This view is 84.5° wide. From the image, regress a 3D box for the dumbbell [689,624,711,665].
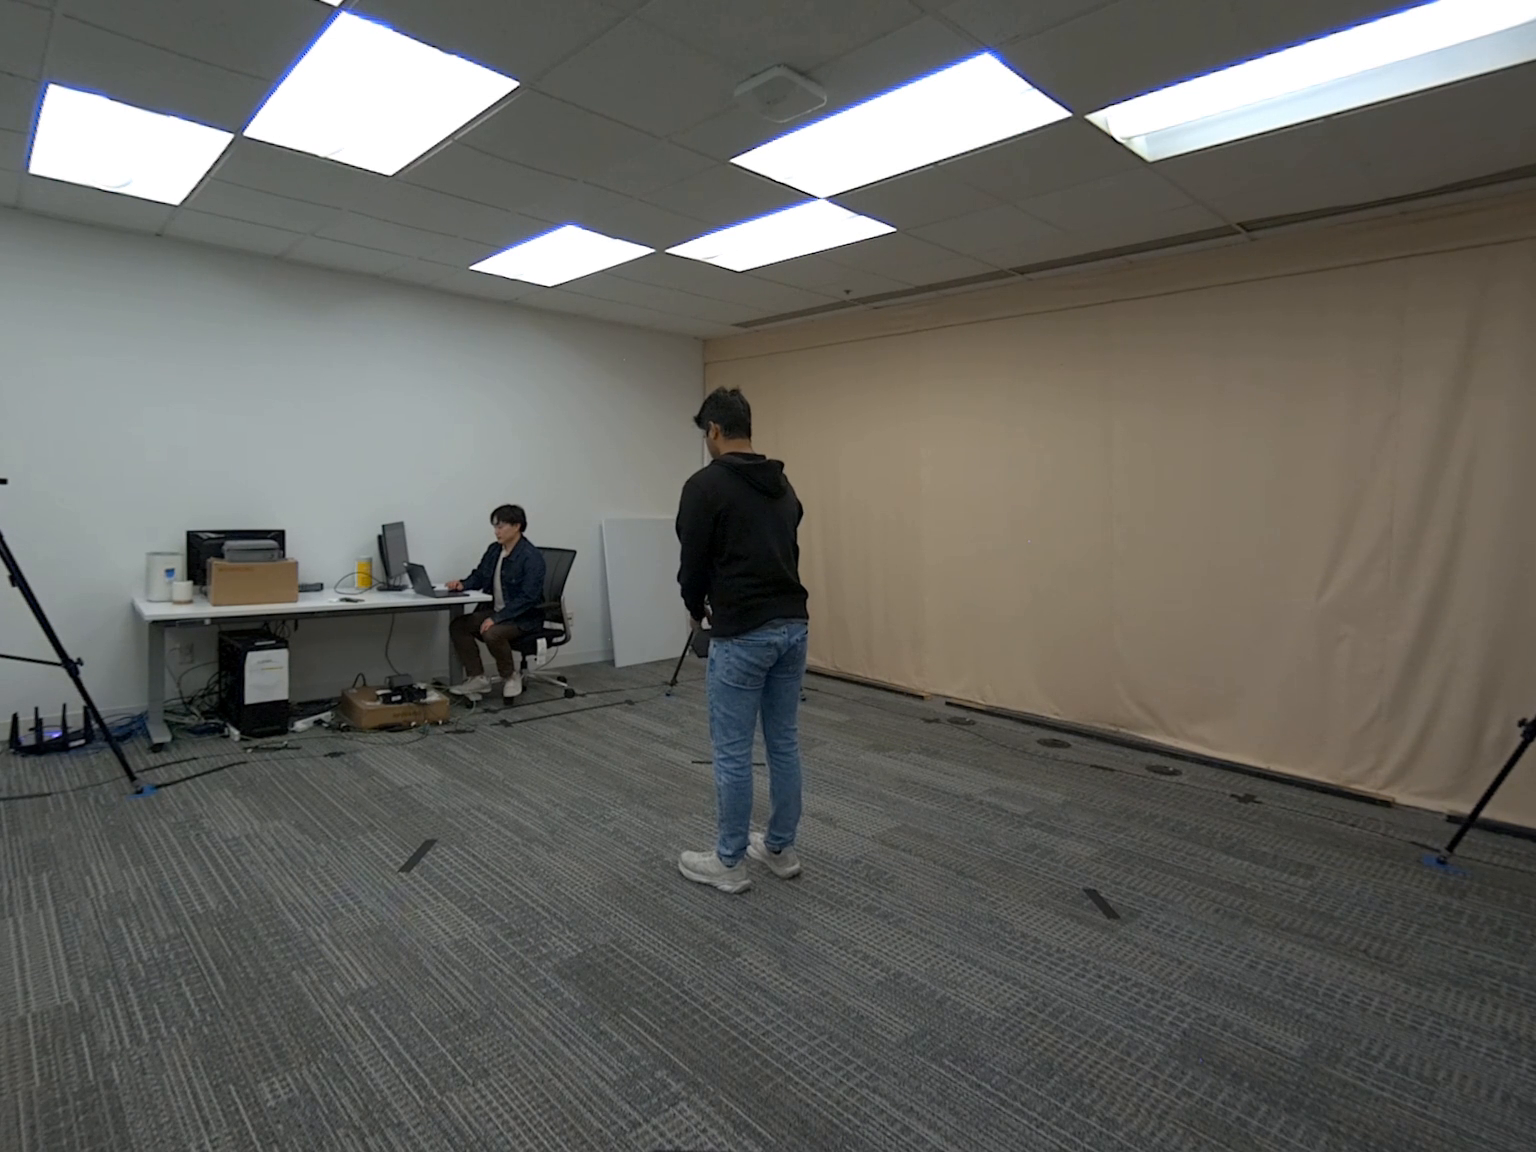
[{"bbox_3d":[-0.194,0.263,3.216,0.110,0.123,0.290,26,0,9],"label":"dumbbell"}]
